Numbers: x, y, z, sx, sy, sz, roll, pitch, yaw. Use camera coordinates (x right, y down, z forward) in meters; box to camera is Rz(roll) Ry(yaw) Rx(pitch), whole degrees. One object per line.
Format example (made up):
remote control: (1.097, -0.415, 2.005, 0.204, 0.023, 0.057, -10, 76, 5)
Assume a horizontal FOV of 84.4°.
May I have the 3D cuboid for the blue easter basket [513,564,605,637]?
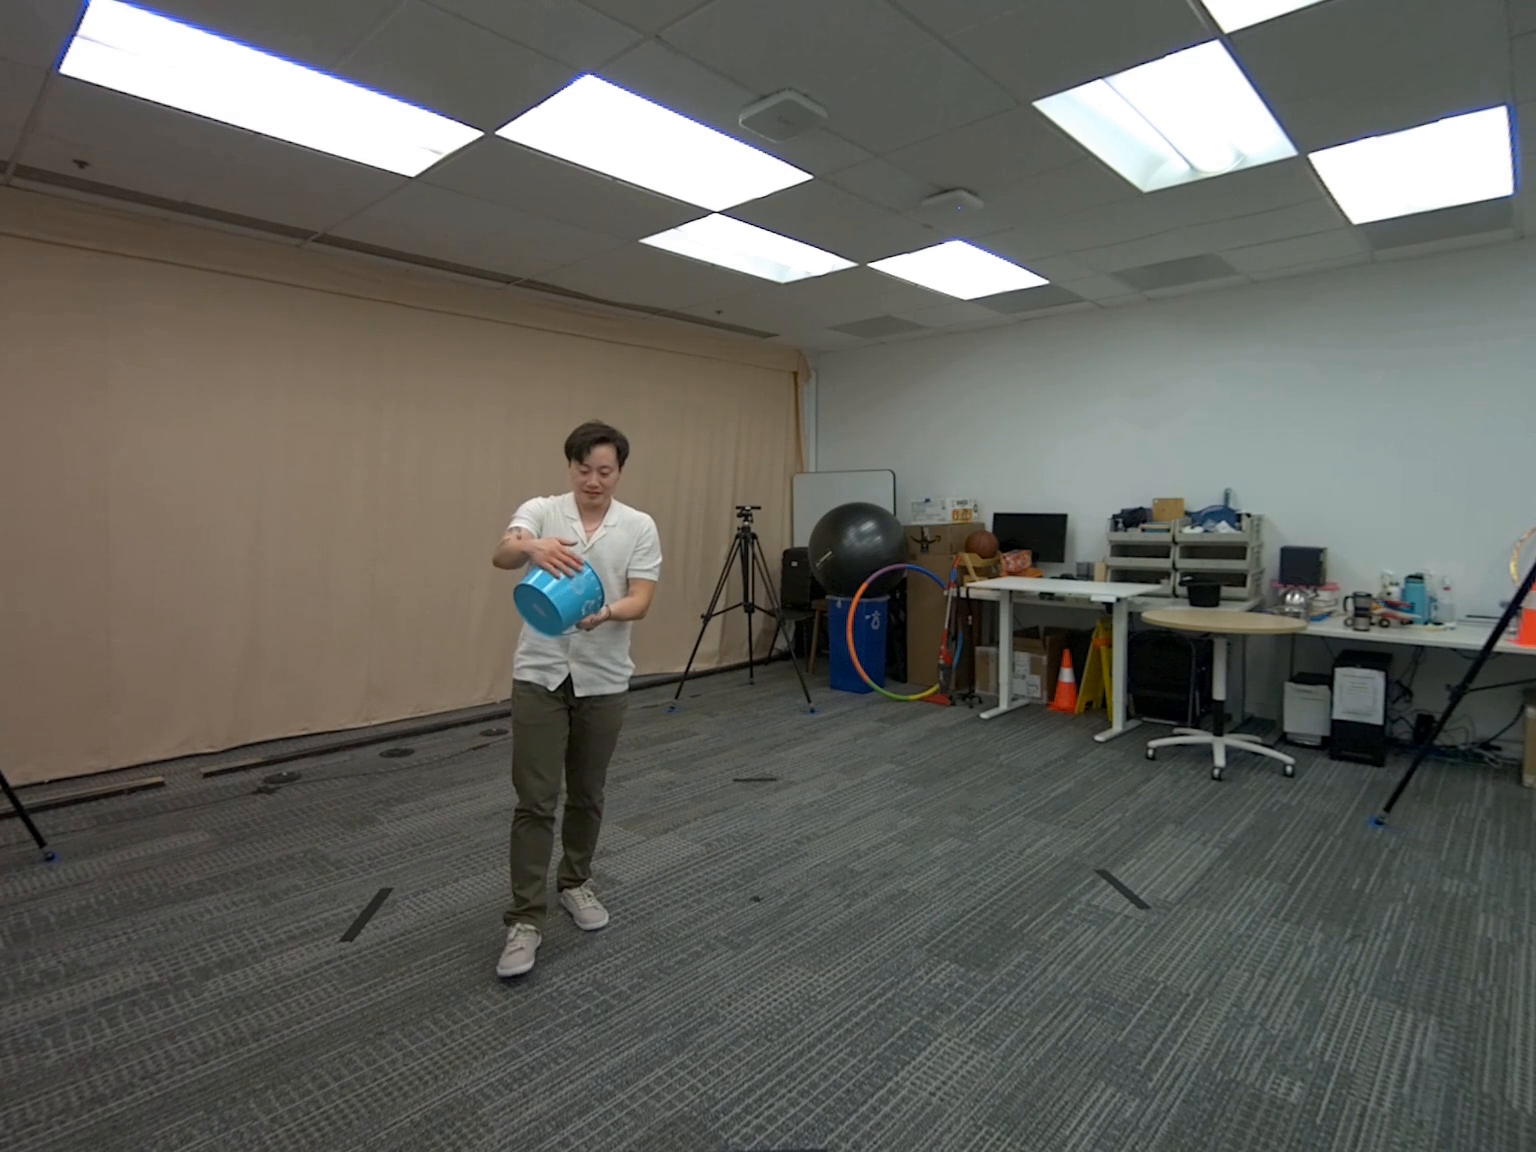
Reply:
blue easter basket: (-0.593, 0.062, 2.367, 0.251, 0.238, 0.154, 3, 34, 38)
